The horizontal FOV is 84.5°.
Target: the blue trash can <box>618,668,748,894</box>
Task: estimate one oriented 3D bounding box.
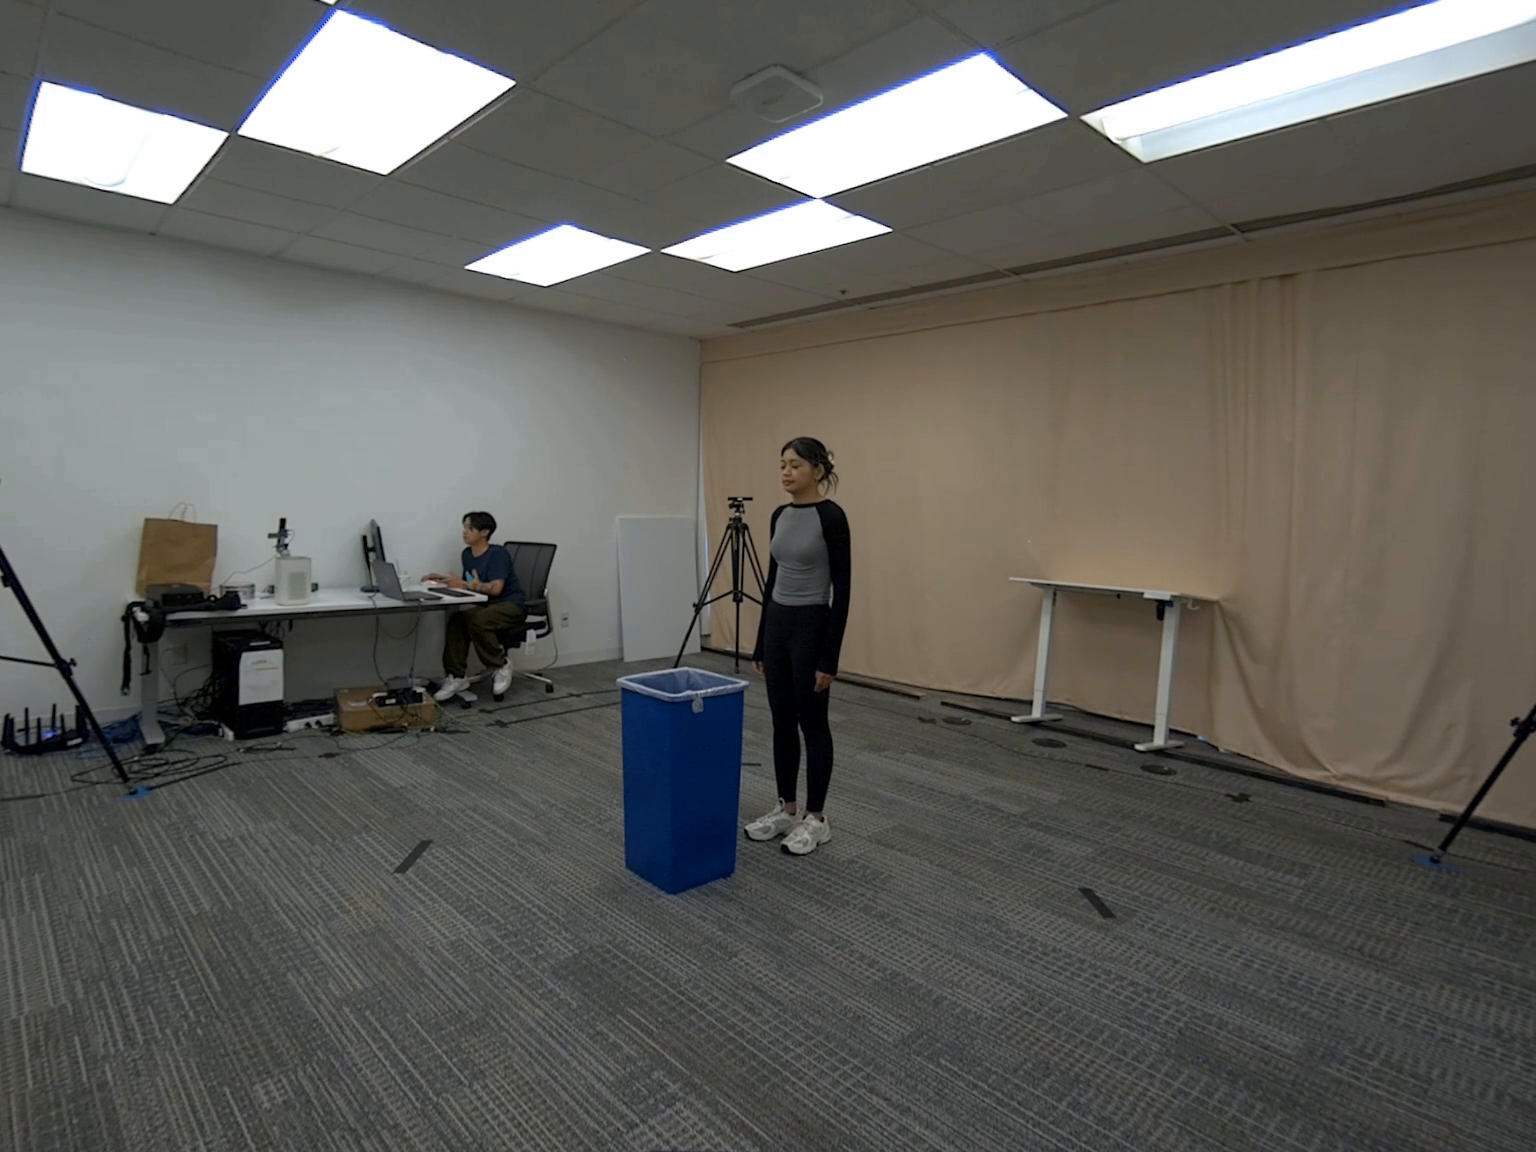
[{"bbox_3d":[-0.335,0.743,3.134,0.369,0.712,0.383,-1,4,-42],"label":"blue trash can"}]
